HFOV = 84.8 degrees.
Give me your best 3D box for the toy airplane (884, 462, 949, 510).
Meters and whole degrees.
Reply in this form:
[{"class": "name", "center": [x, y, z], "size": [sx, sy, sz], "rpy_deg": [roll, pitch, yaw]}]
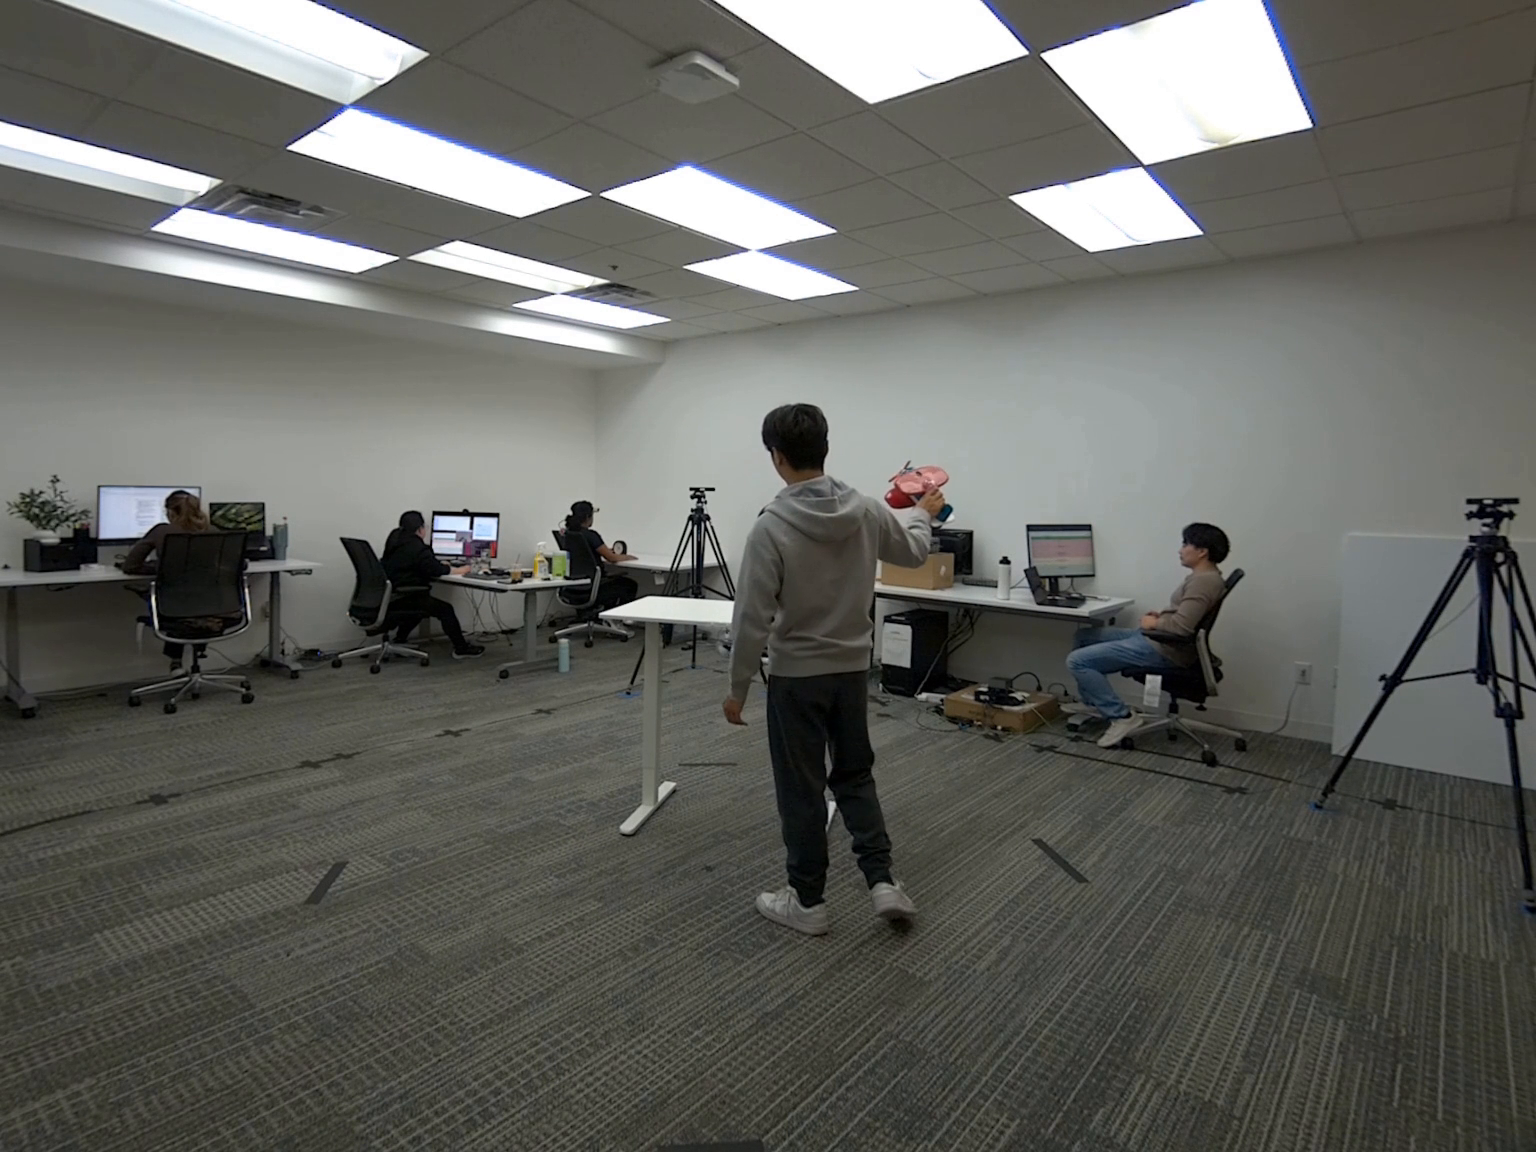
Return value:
[{"class": "toy airplane", "center": [0.568, -0.296, 3.124], "size": [0.264, 0.153, 0.251], "rpy_deg": [22, 40, 14]}]
